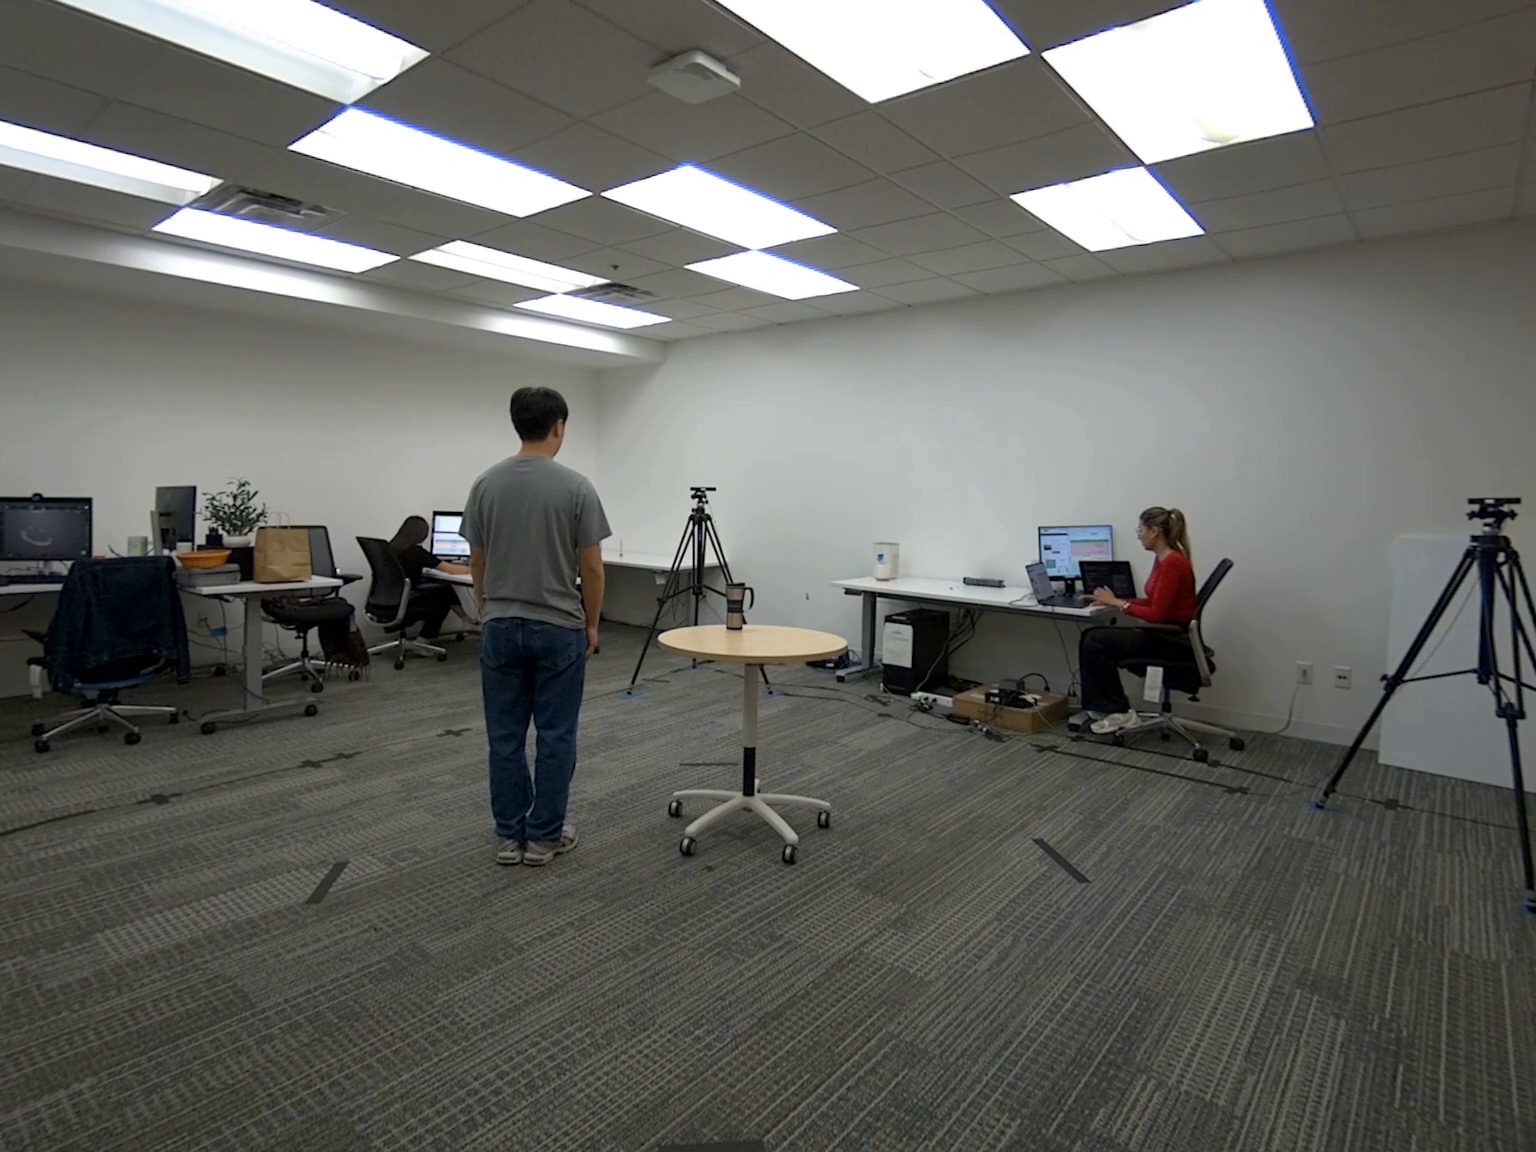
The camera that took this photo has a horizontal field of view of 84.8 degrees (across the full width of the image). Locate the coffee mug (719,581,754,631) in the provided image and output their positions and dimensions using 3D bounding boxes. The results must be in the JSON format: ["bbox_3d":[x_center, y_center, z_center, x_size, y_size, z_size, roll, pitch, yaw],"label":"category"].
[{"bbox_3d":[-0.138,0.127,3.680,0.124,0.203,0.086,-1,0,21],"label":"coffee mug"}]
